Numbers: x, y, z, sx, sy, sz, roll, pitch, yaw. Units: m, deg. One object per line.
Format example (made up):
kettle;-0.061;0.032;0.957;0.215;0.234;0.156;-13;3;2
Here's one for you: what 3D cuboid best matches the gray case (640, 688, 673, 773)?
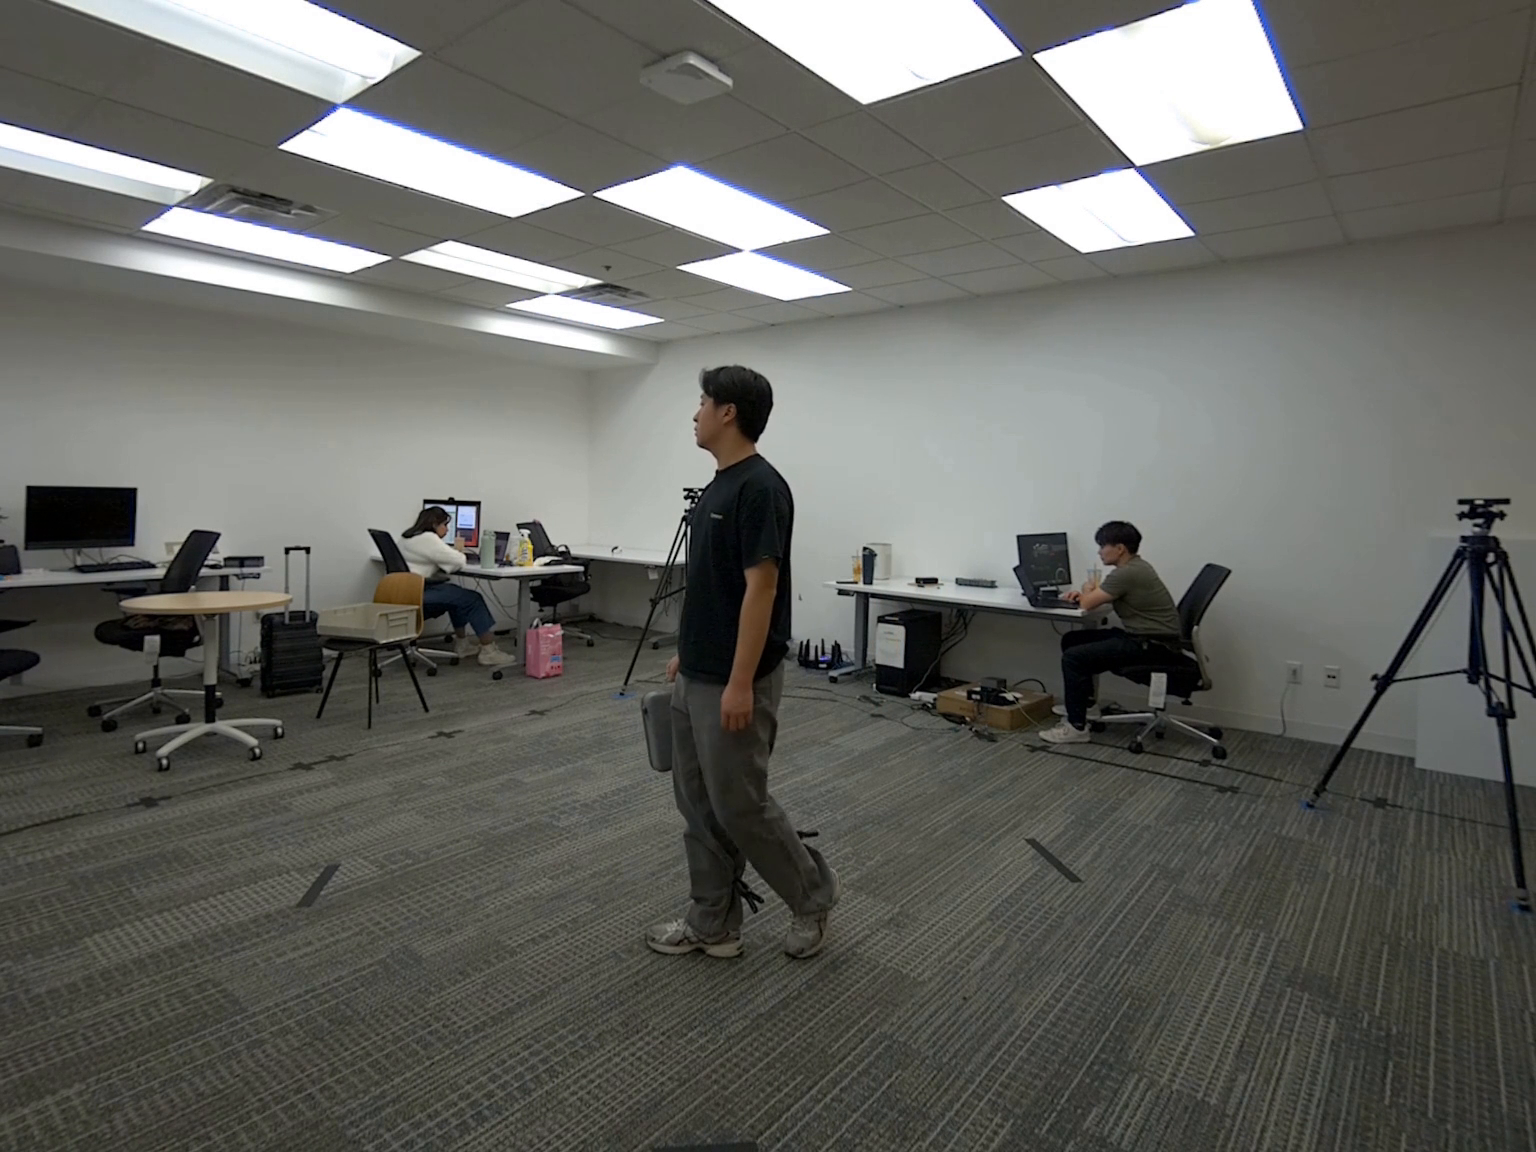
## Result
gray case;-0.281;0.473;2.779;0.258;0.288;0.104;-8;-4;-21
